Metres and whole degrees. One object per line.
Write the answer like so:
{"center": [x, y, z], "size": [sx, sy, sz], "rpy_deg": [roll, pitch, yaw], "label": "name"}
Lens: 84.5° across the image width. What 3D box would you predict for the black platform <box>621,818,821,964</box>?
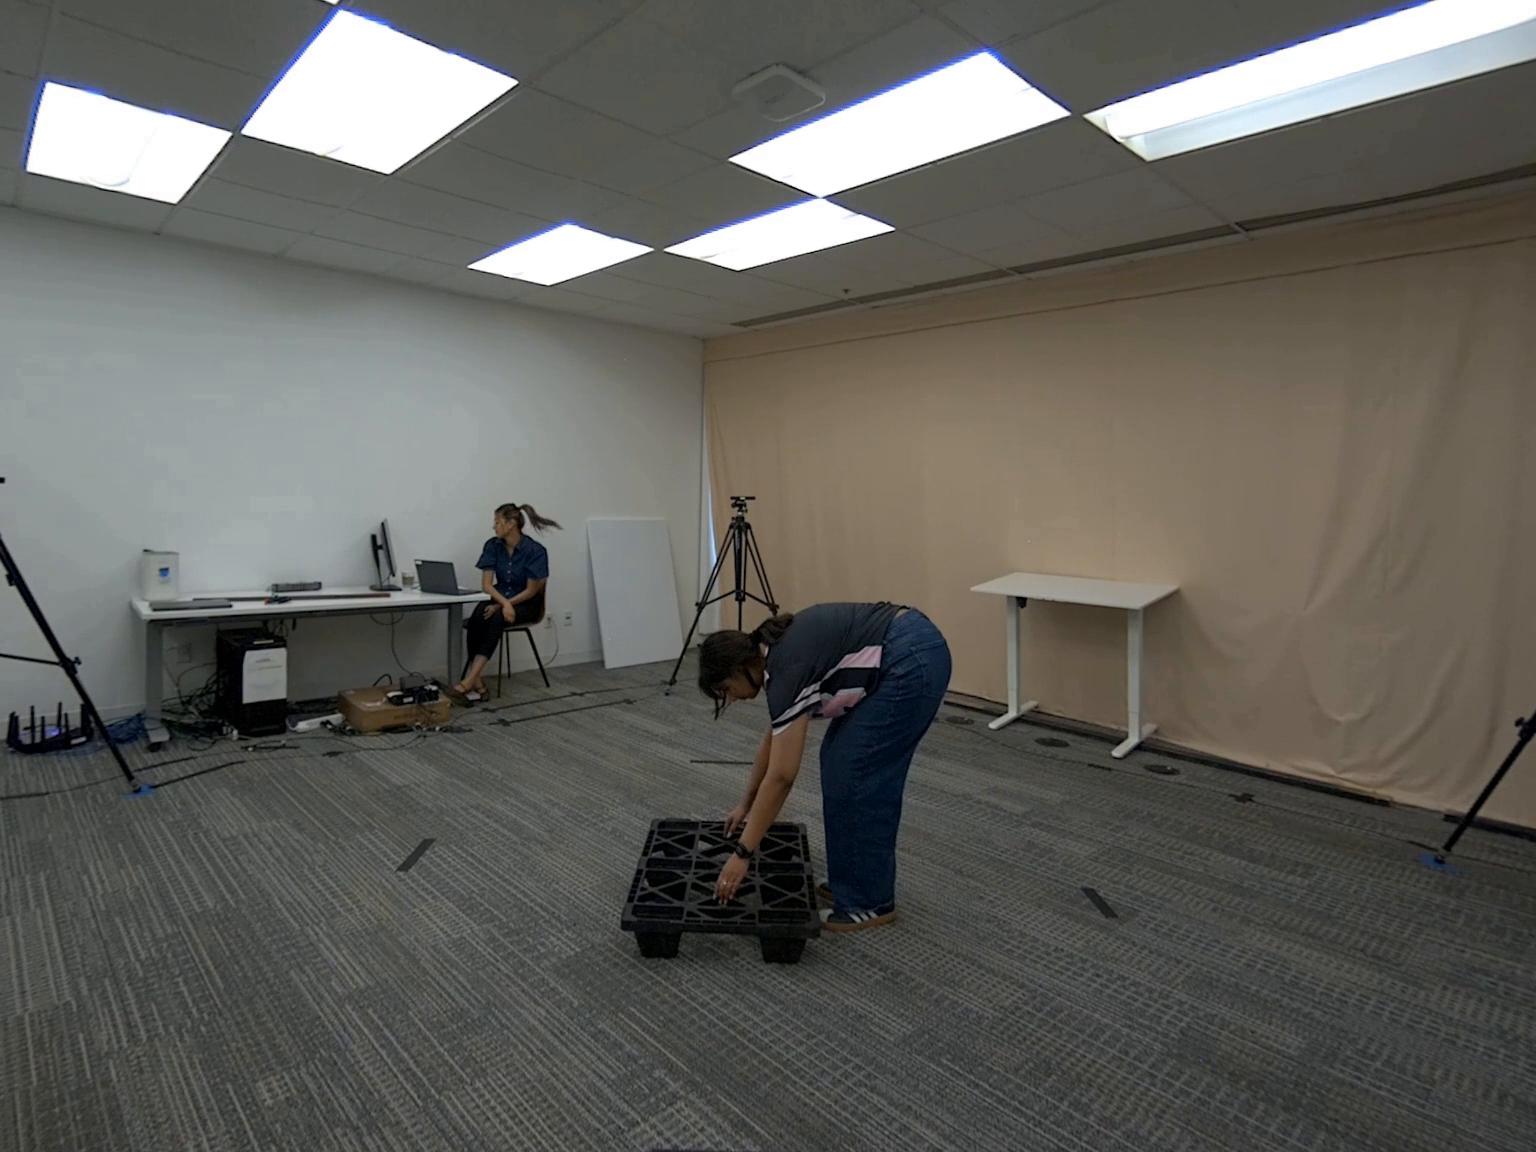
{"center": [-0.157, 1.054, 2.885], "size": [0.606, 0.143, 0.807], "rpy_deg": [1, 5, 0], "label": "black platform"}
